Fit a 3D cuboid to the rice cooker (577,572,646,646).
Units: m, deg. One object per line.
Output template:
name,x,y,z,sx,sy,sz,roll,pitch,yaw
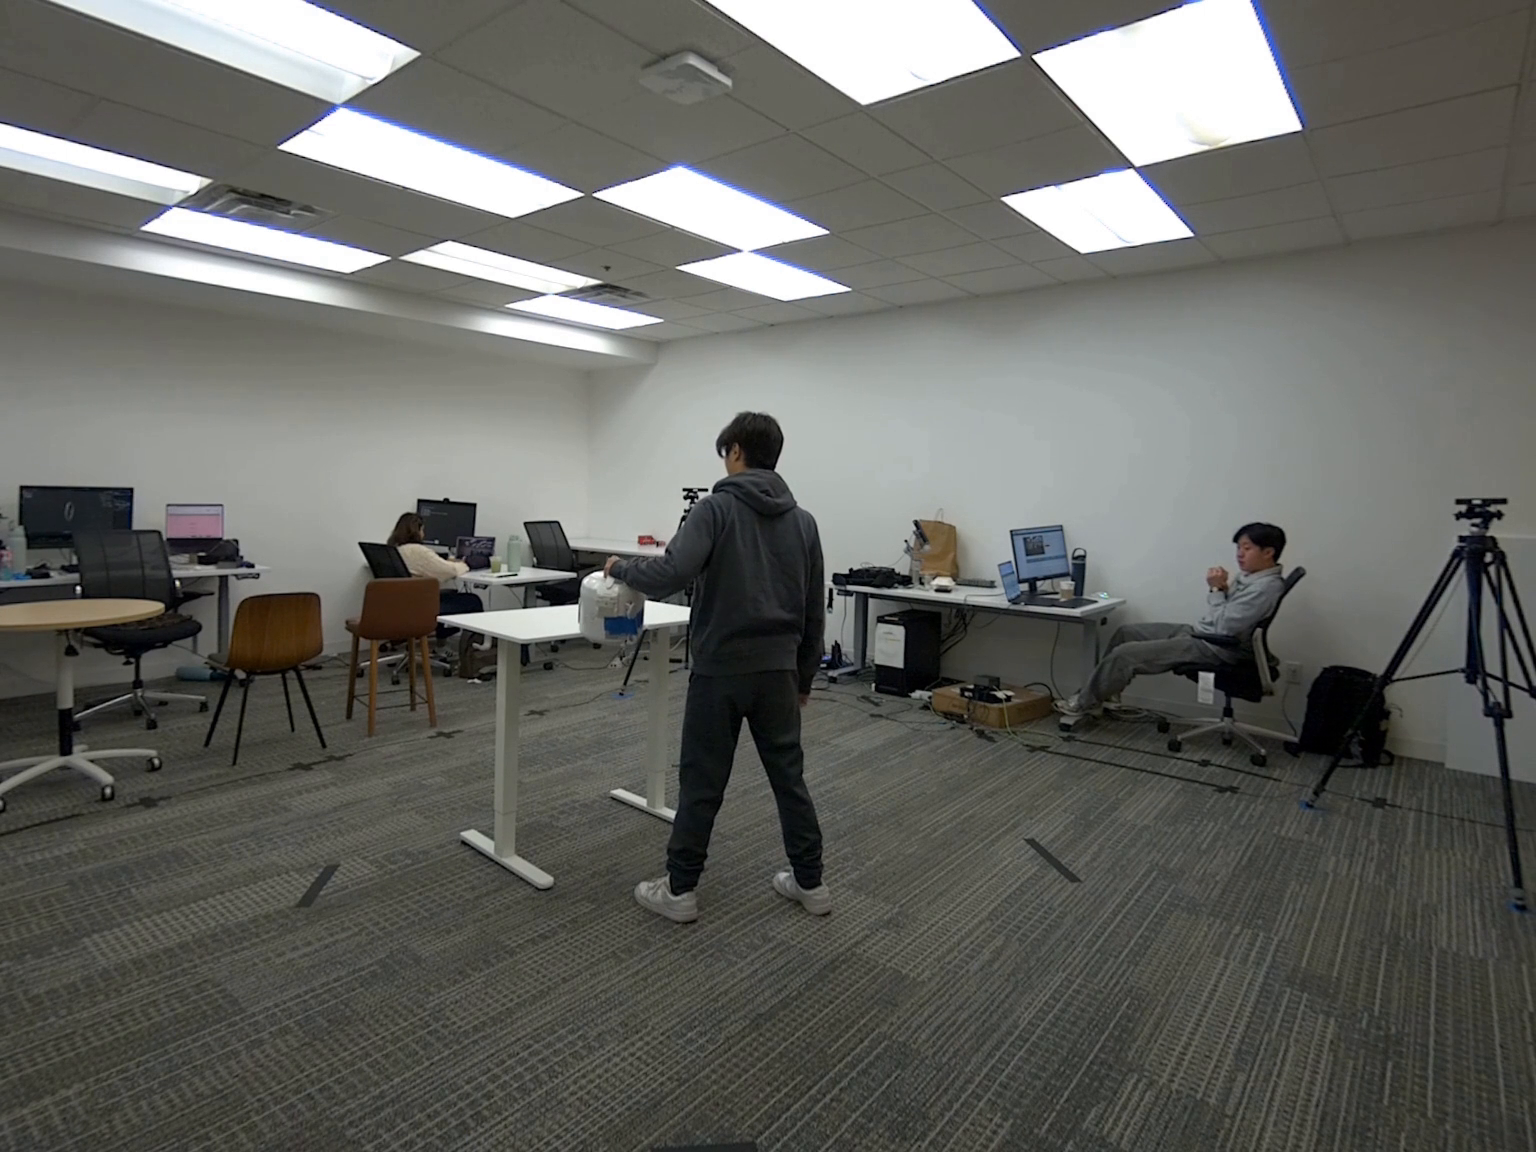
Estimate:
rice cooker,-0.522,0.093,2.800,0.218,0.230,0.222,7,14,2
